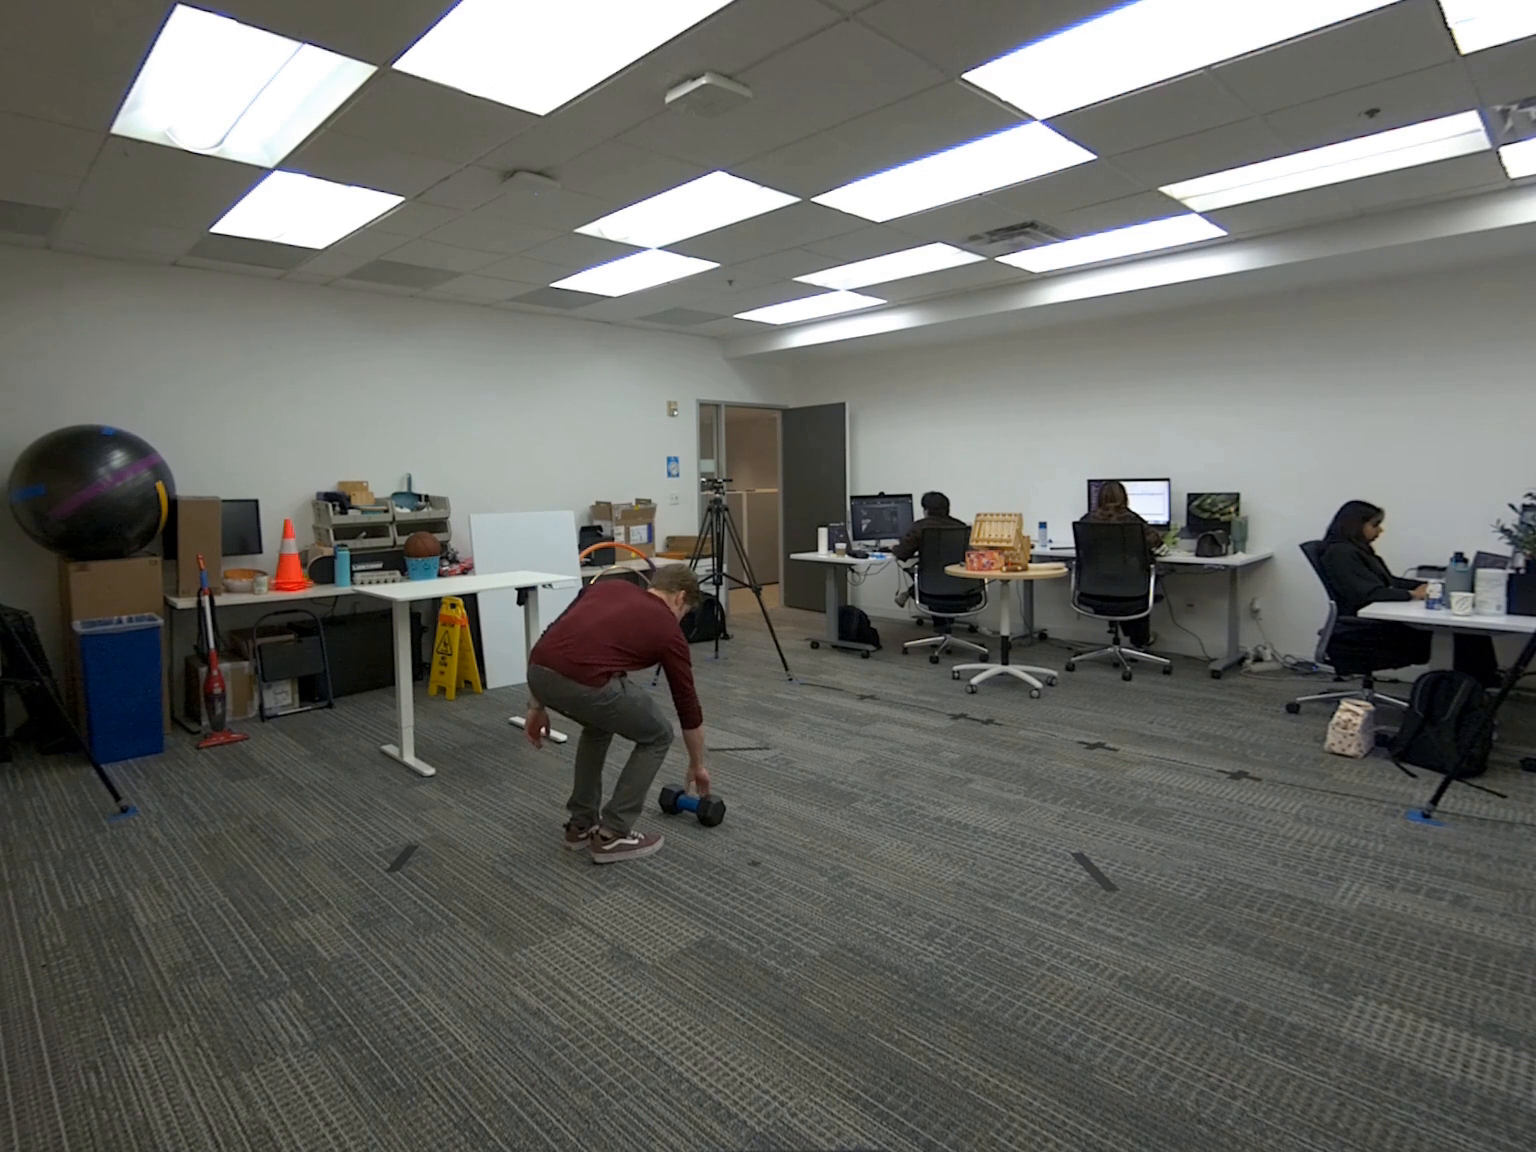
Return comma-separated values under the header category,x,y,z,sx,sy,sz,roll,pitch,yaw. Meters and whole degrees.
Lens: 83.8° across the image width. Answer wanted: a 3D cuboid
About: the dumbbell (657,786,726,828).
category,x,y,z,sx,sy,sz,roll,pitch,yaw
dumbbell,-0.315,0.948,3.540,0.302,0.119,0.108,4,36,39
